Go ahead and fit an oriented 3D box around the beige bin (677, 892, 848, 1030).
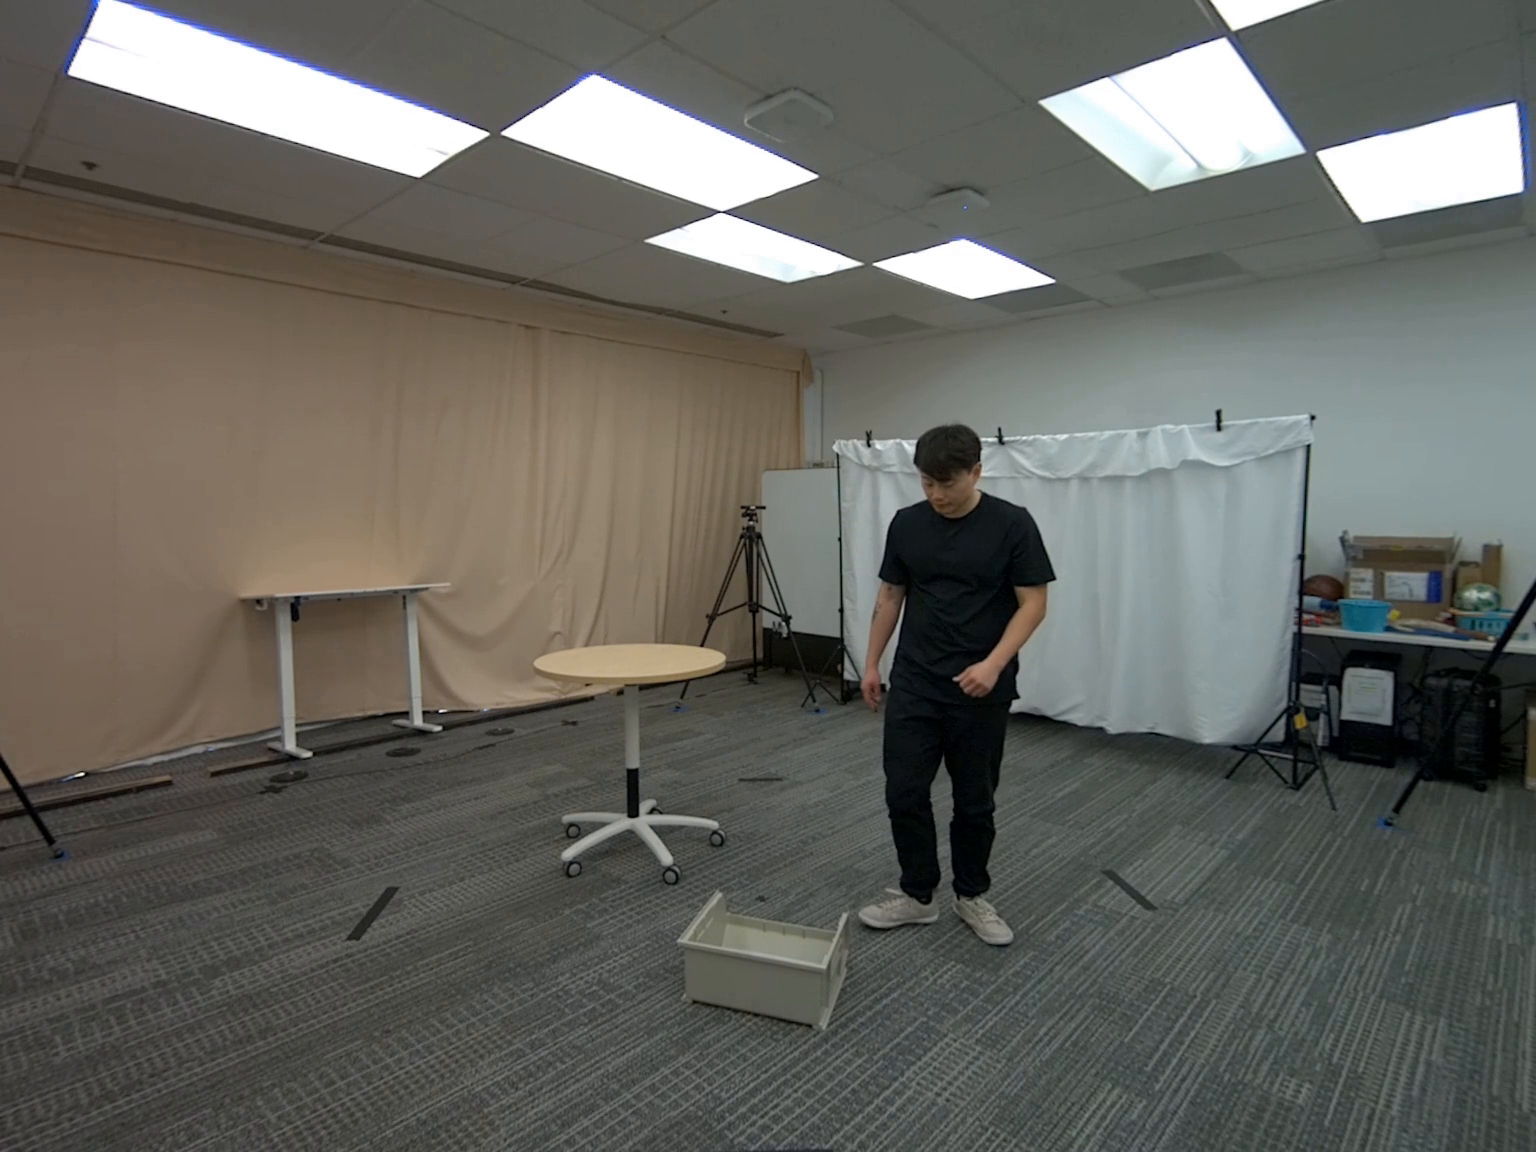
[{"bbox_3d":[0.005,1.101,2.452,0.430,0.188,0.371,1,6,17],"label":"beige bin"}]
